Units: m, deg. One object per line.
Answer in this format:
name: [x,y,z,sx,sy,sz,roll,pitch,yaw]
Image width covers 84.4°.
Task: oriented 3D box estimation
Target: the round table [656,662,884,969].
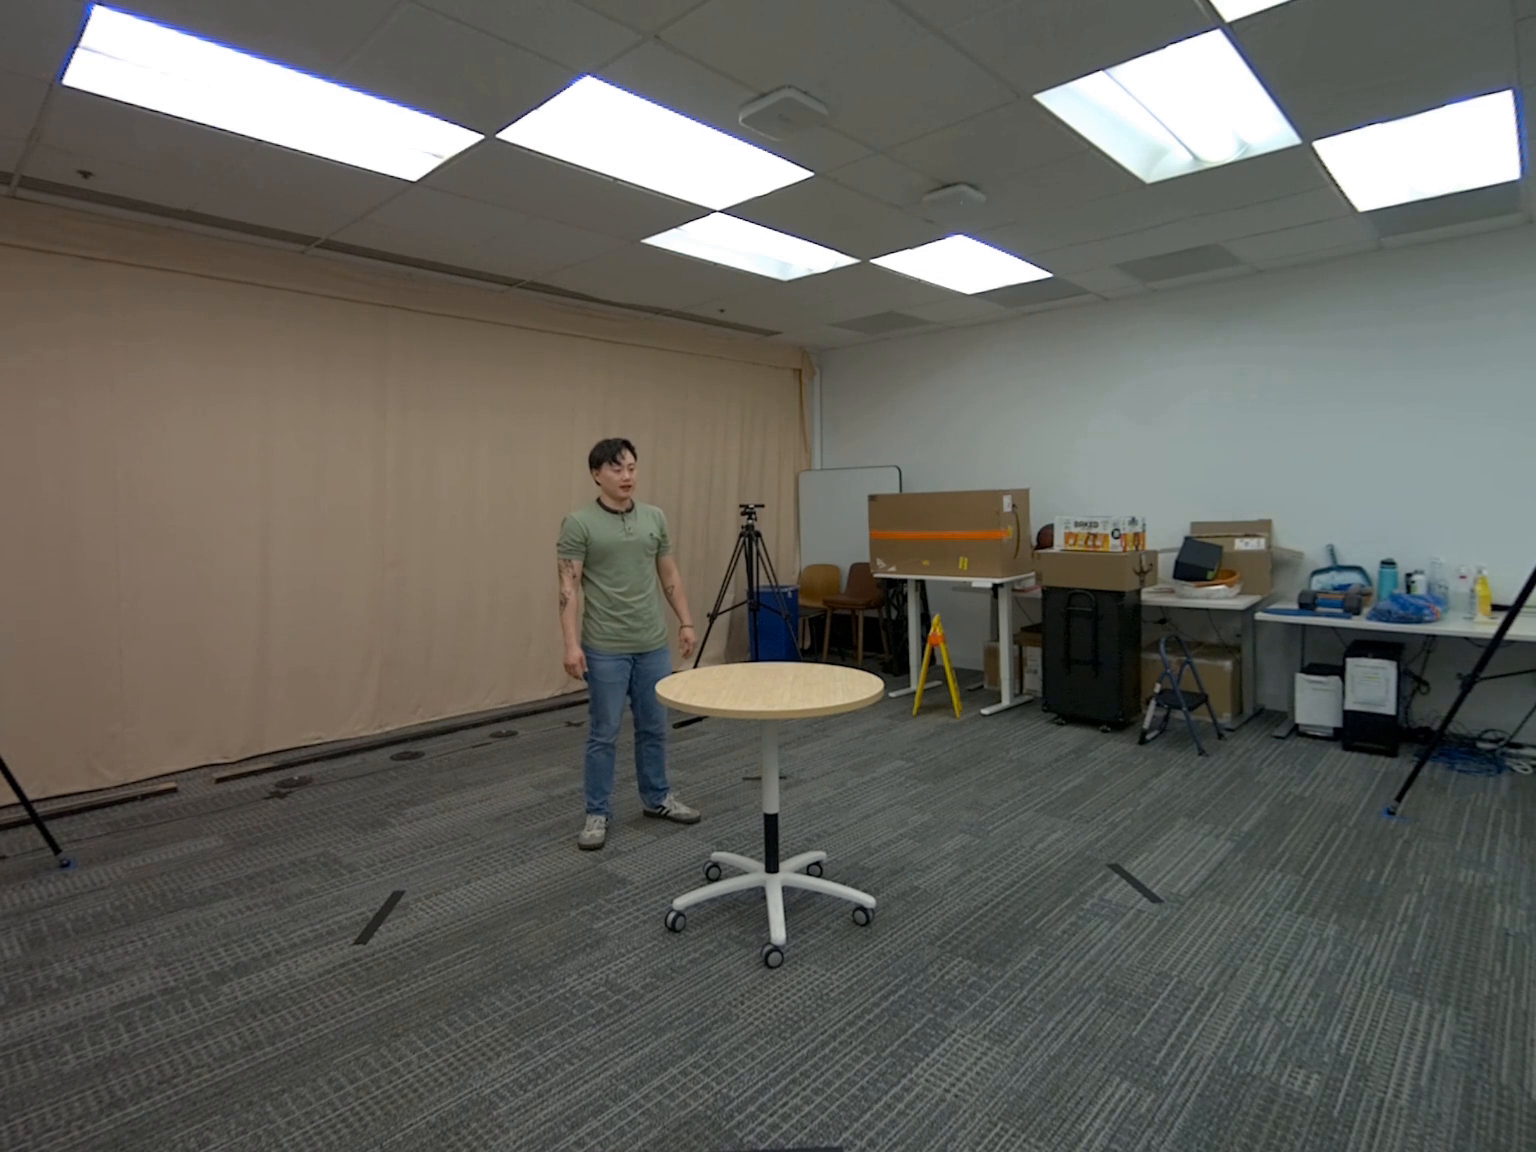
round table: [0.016,0.758,2.861,0.763,0.792,0.767,-1,4,-2]
